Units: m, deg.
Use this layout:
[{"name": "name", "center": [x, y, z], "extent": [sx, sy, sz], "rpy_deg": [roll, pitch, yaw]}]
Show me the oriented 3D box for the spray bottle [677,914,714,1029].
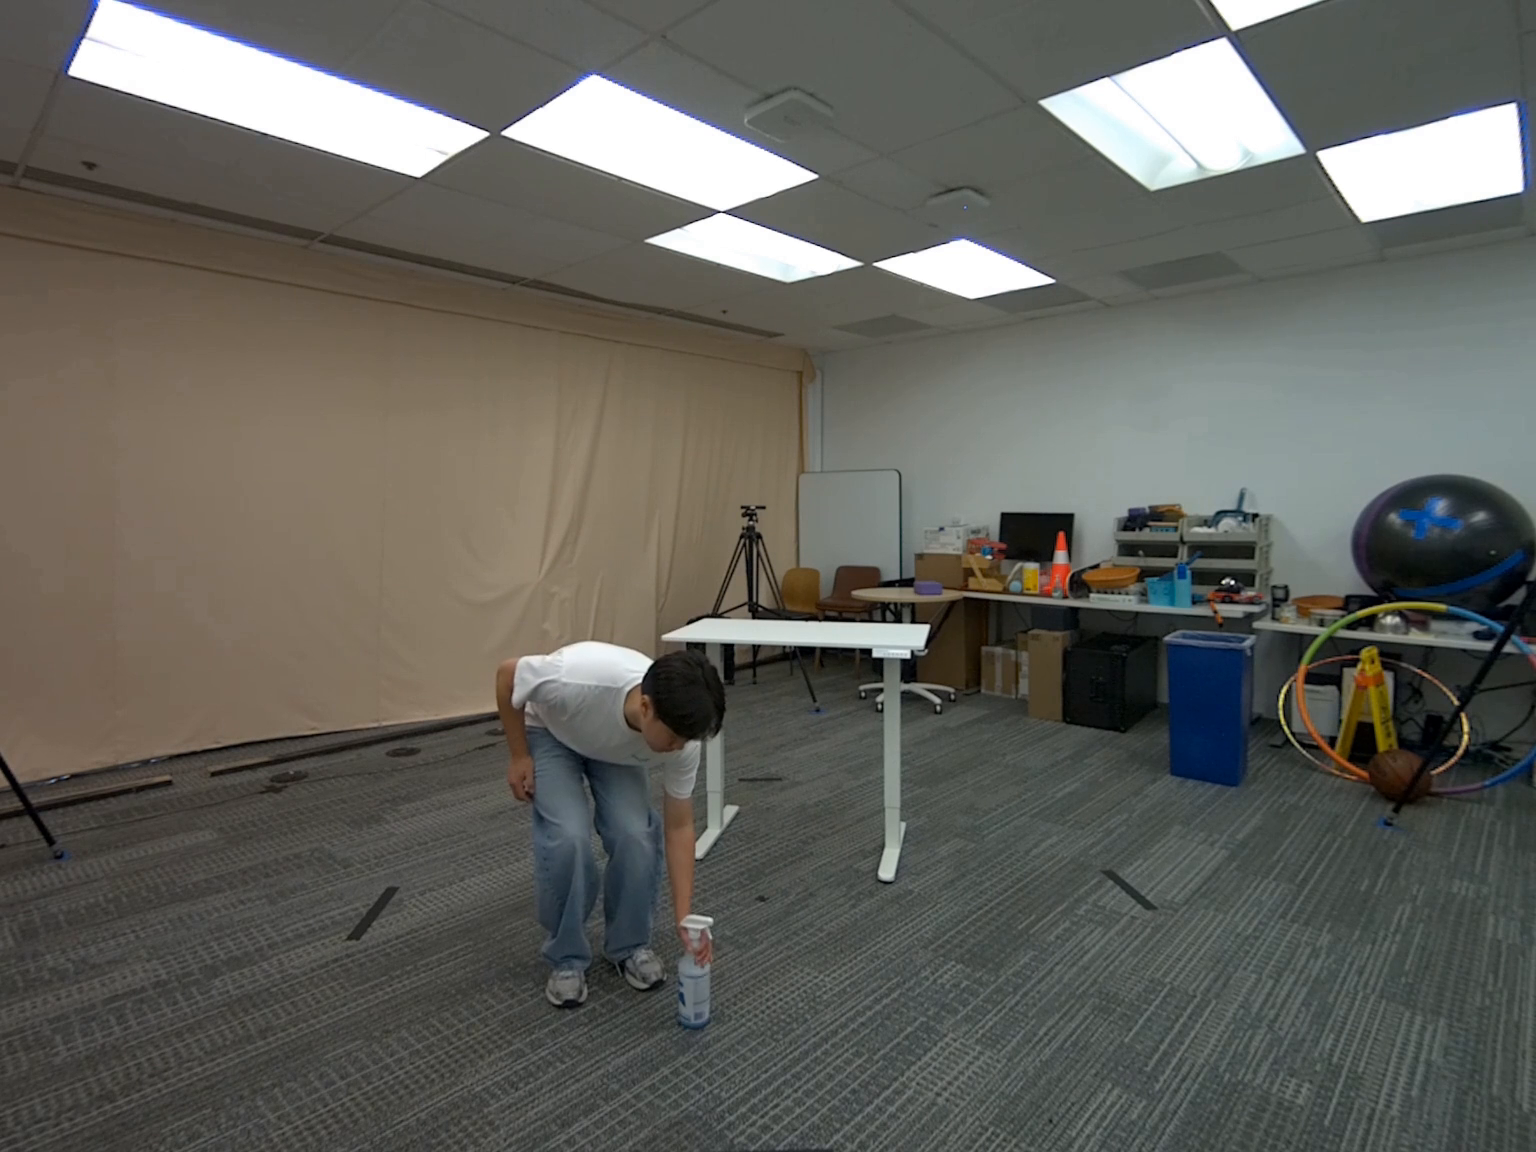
[{"name": "spray bottle", "center": [-0.194, 1.030, 2.253], "extent": [0.093, 0.296, 0.084], "rpy_deg": [10, 10, 37]}]
